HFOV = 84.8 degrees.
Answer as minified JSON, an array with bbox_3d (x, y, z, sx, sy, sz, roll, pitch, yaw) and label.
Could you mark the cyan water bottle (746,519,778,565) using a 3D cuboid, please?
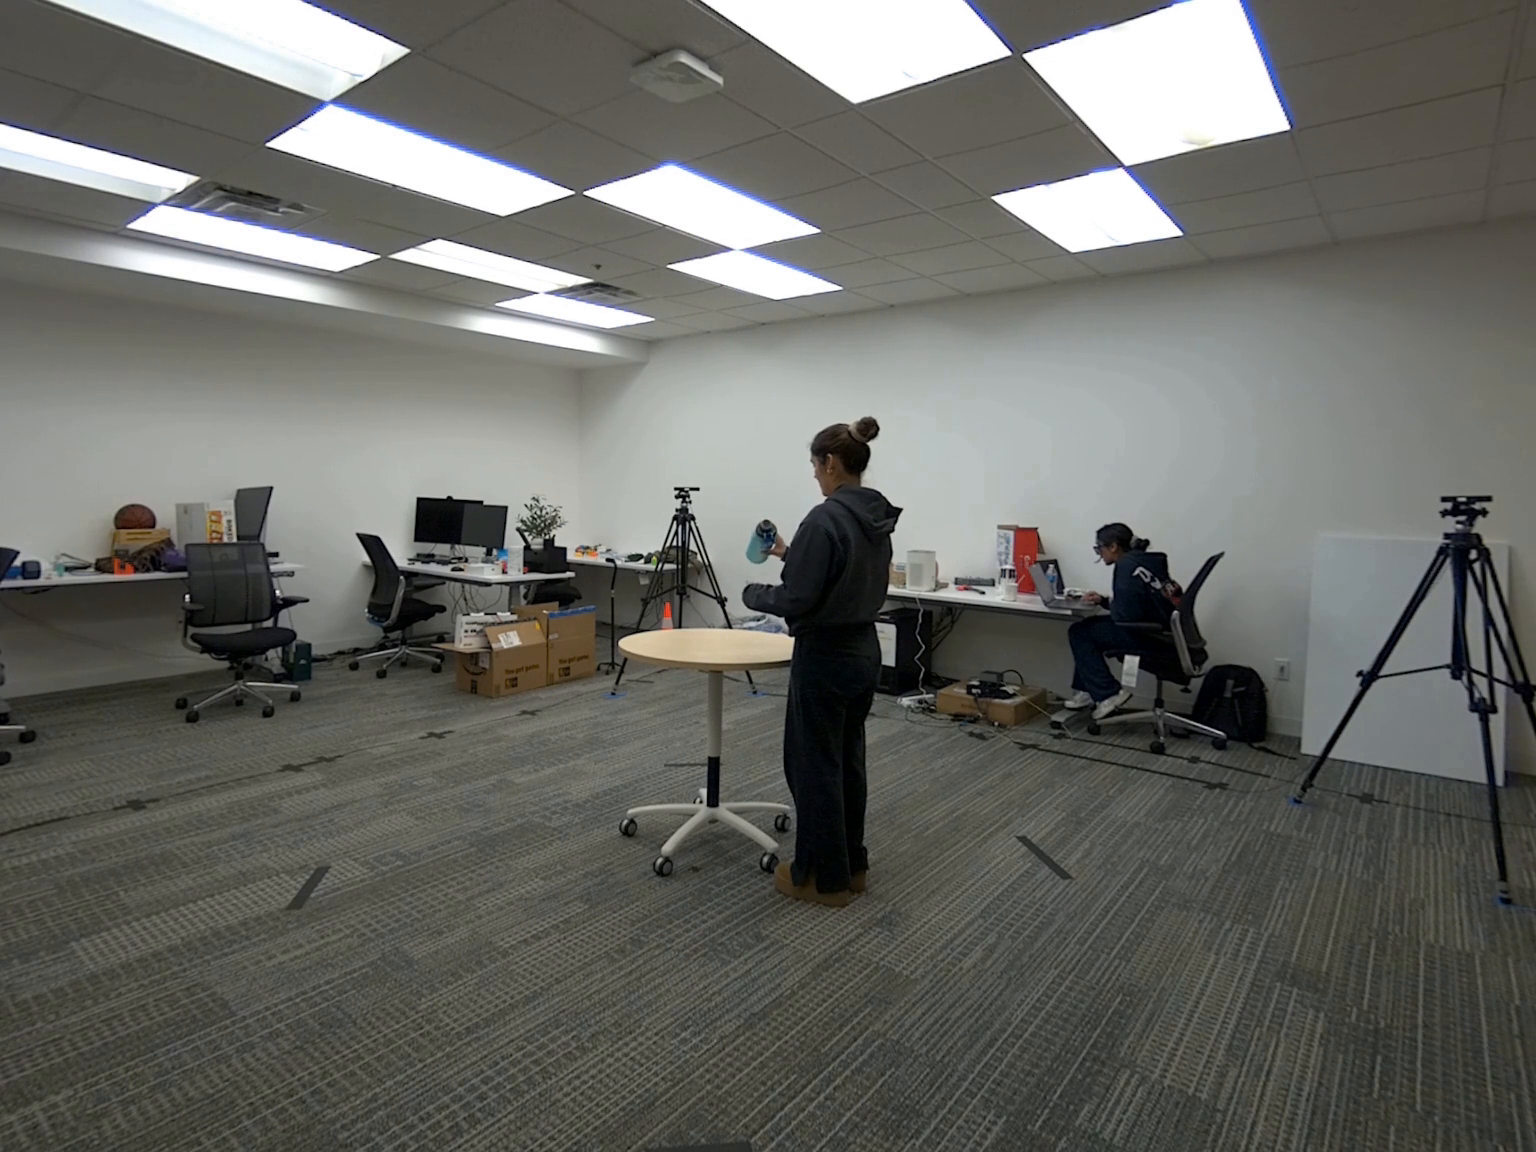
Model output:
[{"bbox_3d":[-0.030,-0.131,3.224,0.091,0.094,0.280,0,-19,-9],"label":"cyan water bottle"}]
